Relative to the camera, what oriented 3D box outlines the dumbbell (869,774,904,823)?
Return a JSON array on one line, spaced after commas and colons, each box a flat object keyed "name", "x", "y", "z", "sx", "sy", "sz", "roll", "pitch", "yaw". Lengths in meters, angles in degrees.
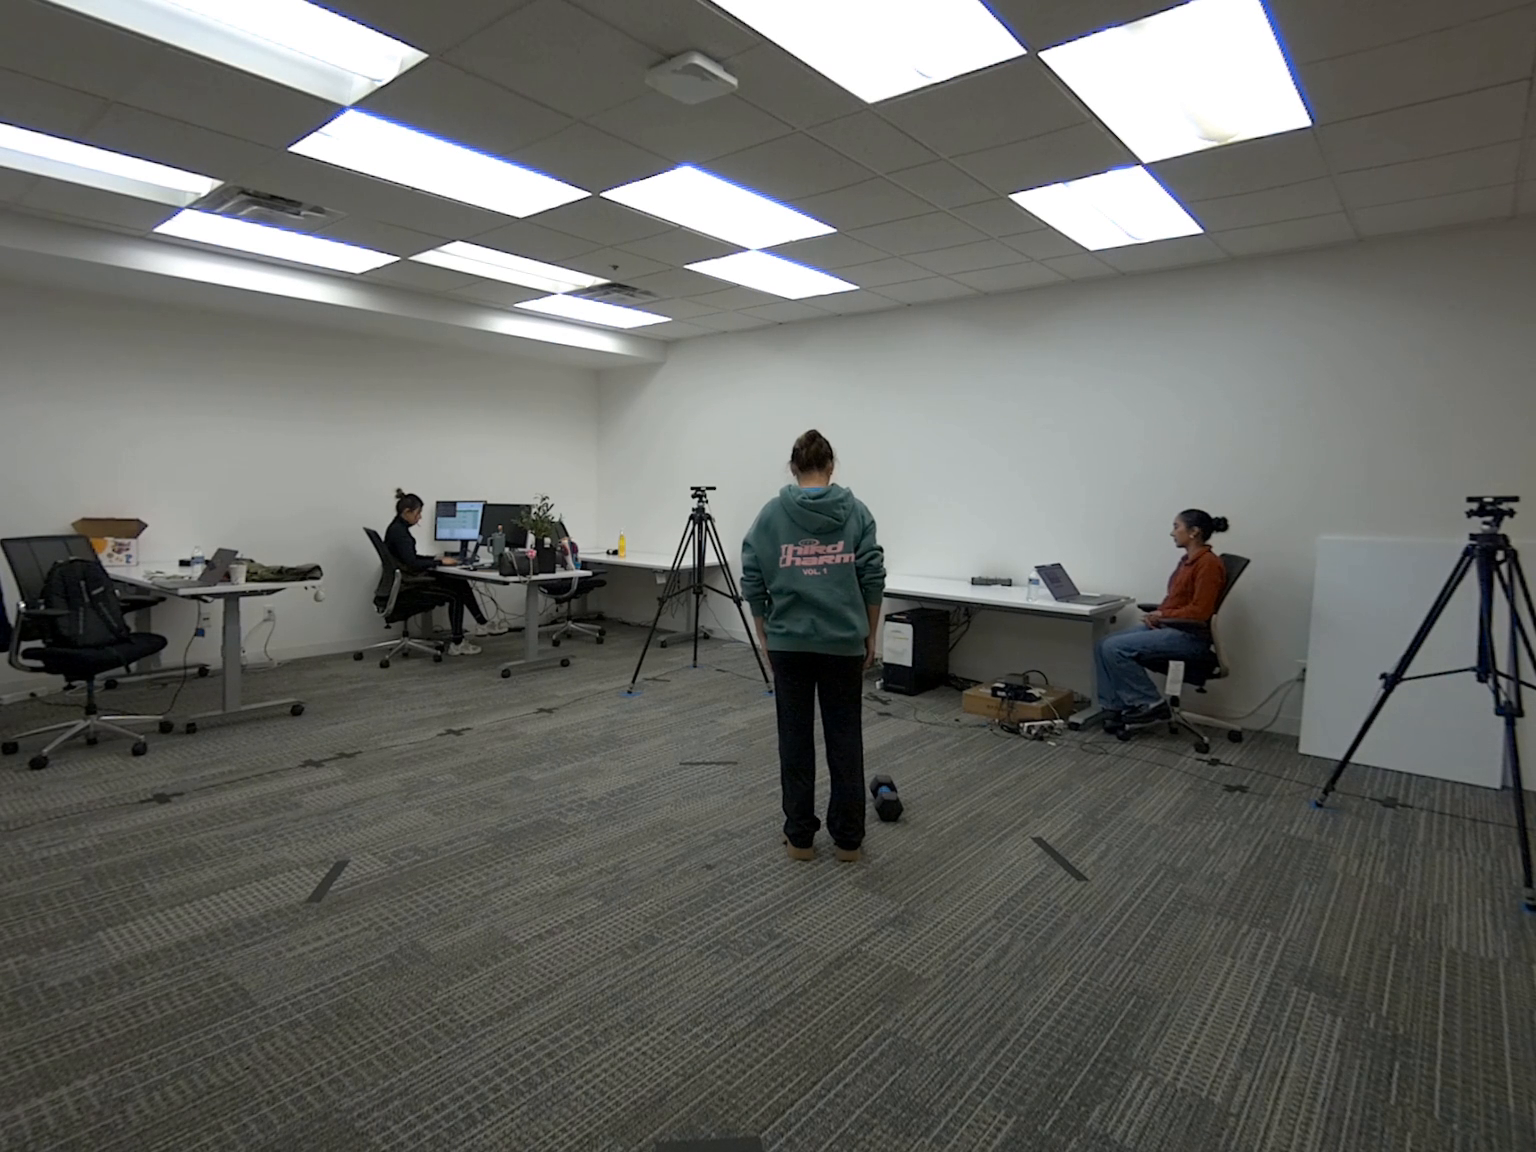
[{"name": "dumbbell", "x": 0.509, "y": 0.964, "z": 3.723, "sx": 0.109, "sy": 0.123, "sz": 0.294, "roll": 29, "pitch": 5, "yaw": -1}]
